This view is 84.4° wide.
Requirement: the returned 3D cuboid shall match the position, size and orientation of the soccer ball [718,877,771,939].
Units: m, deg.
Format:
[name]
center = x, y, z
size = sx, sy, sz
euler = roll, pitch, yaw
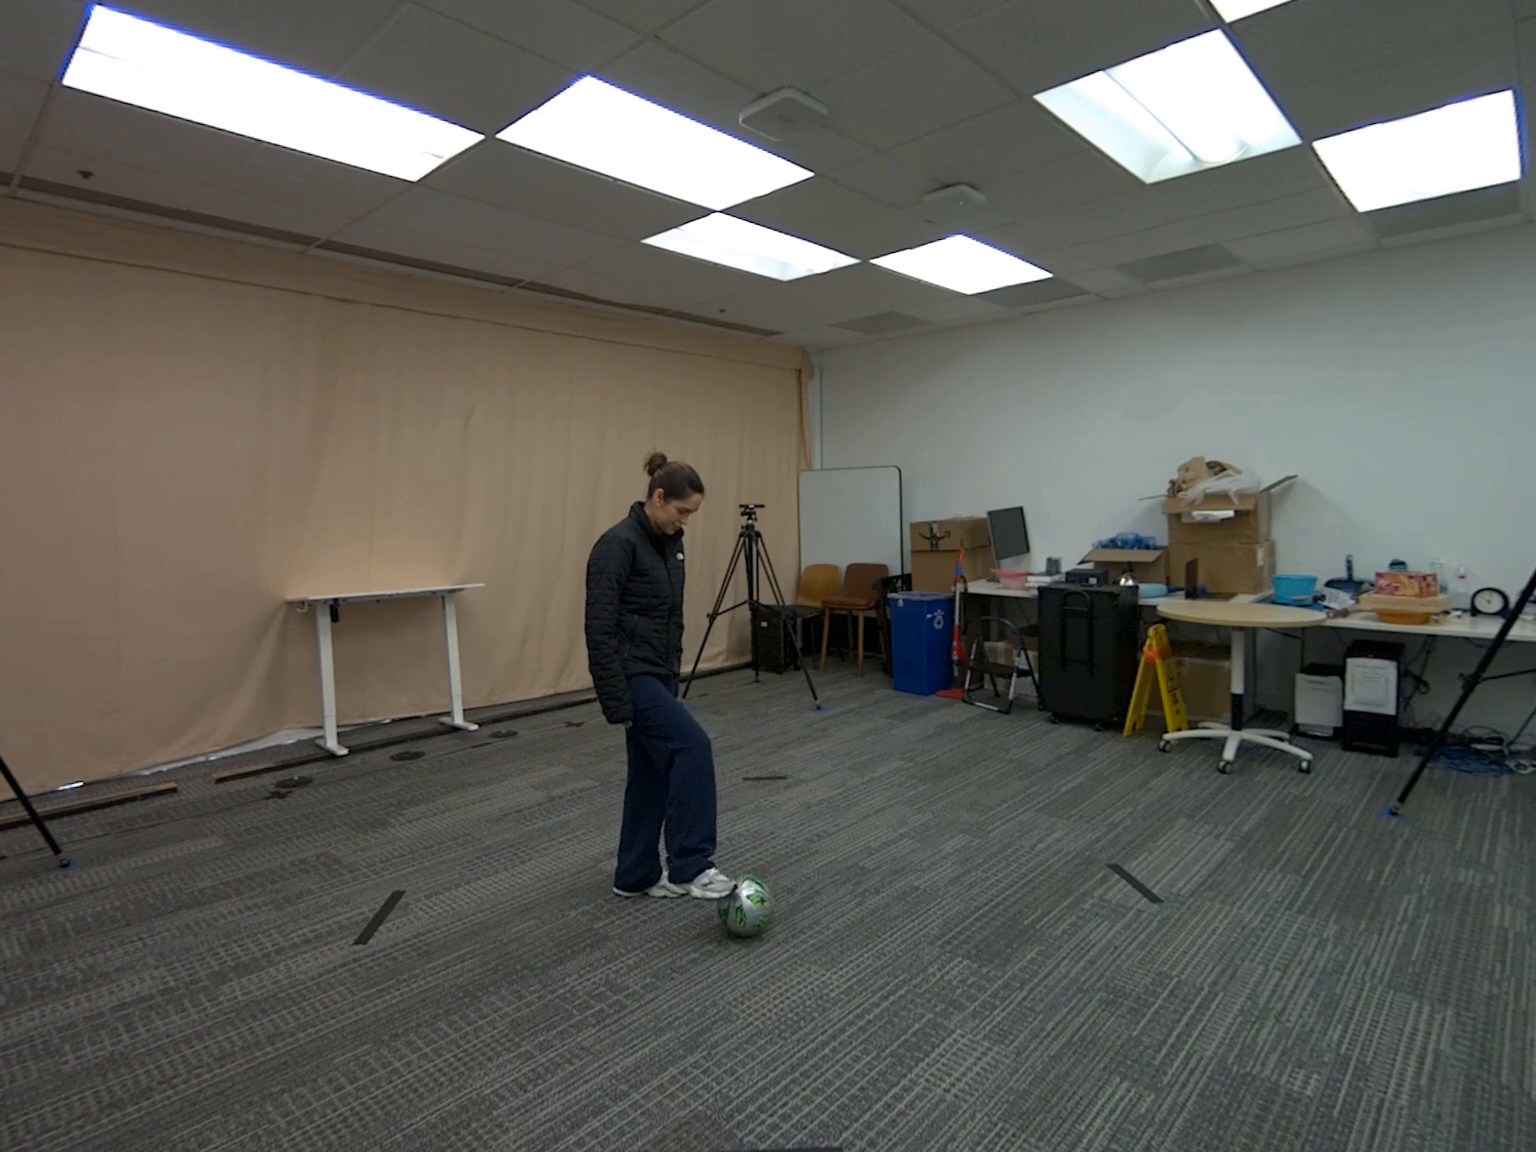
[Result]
[soccer ball]
center = -0.064, 1.070, 2.738
size = 0.187, 0.187, 0.188
euler = -1, 4, -2
